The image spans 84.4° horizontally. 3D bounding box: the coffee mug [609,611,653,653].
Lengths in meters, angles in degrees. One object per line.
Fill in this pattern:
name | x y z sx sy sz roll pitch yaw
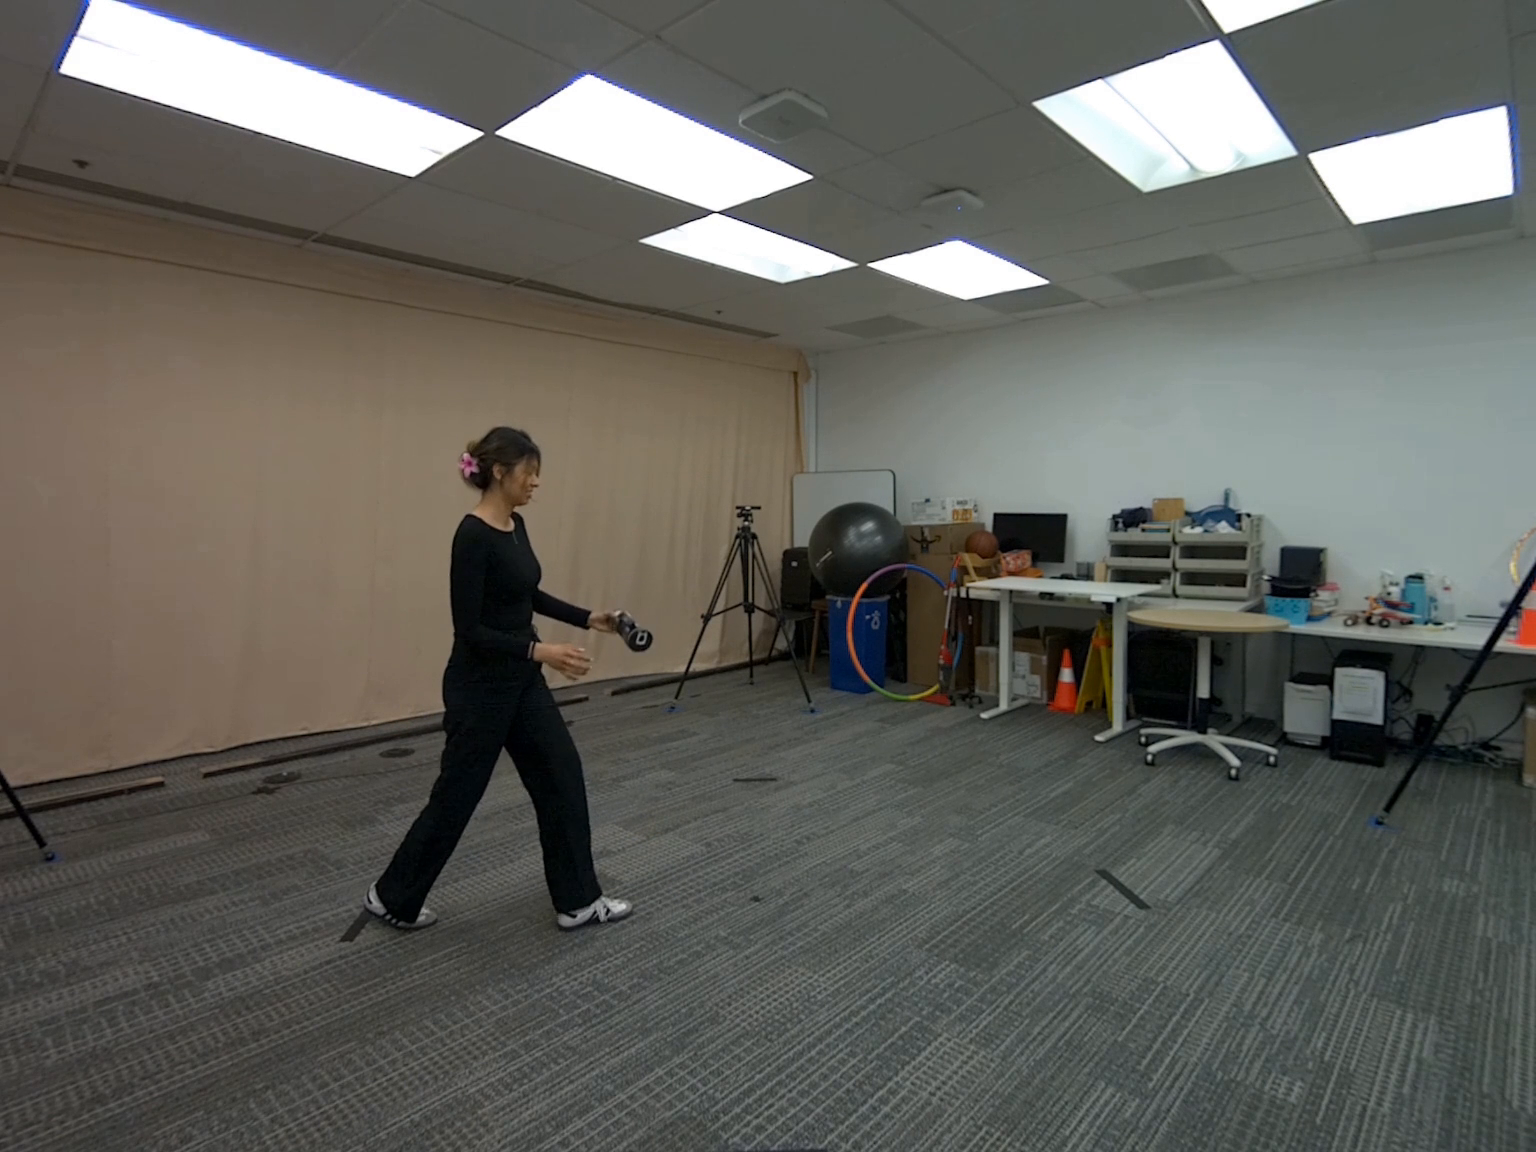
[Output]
coffee mug | -0.481 0.163 2.884 0.086 0.120 0.210 -12 31 -28
